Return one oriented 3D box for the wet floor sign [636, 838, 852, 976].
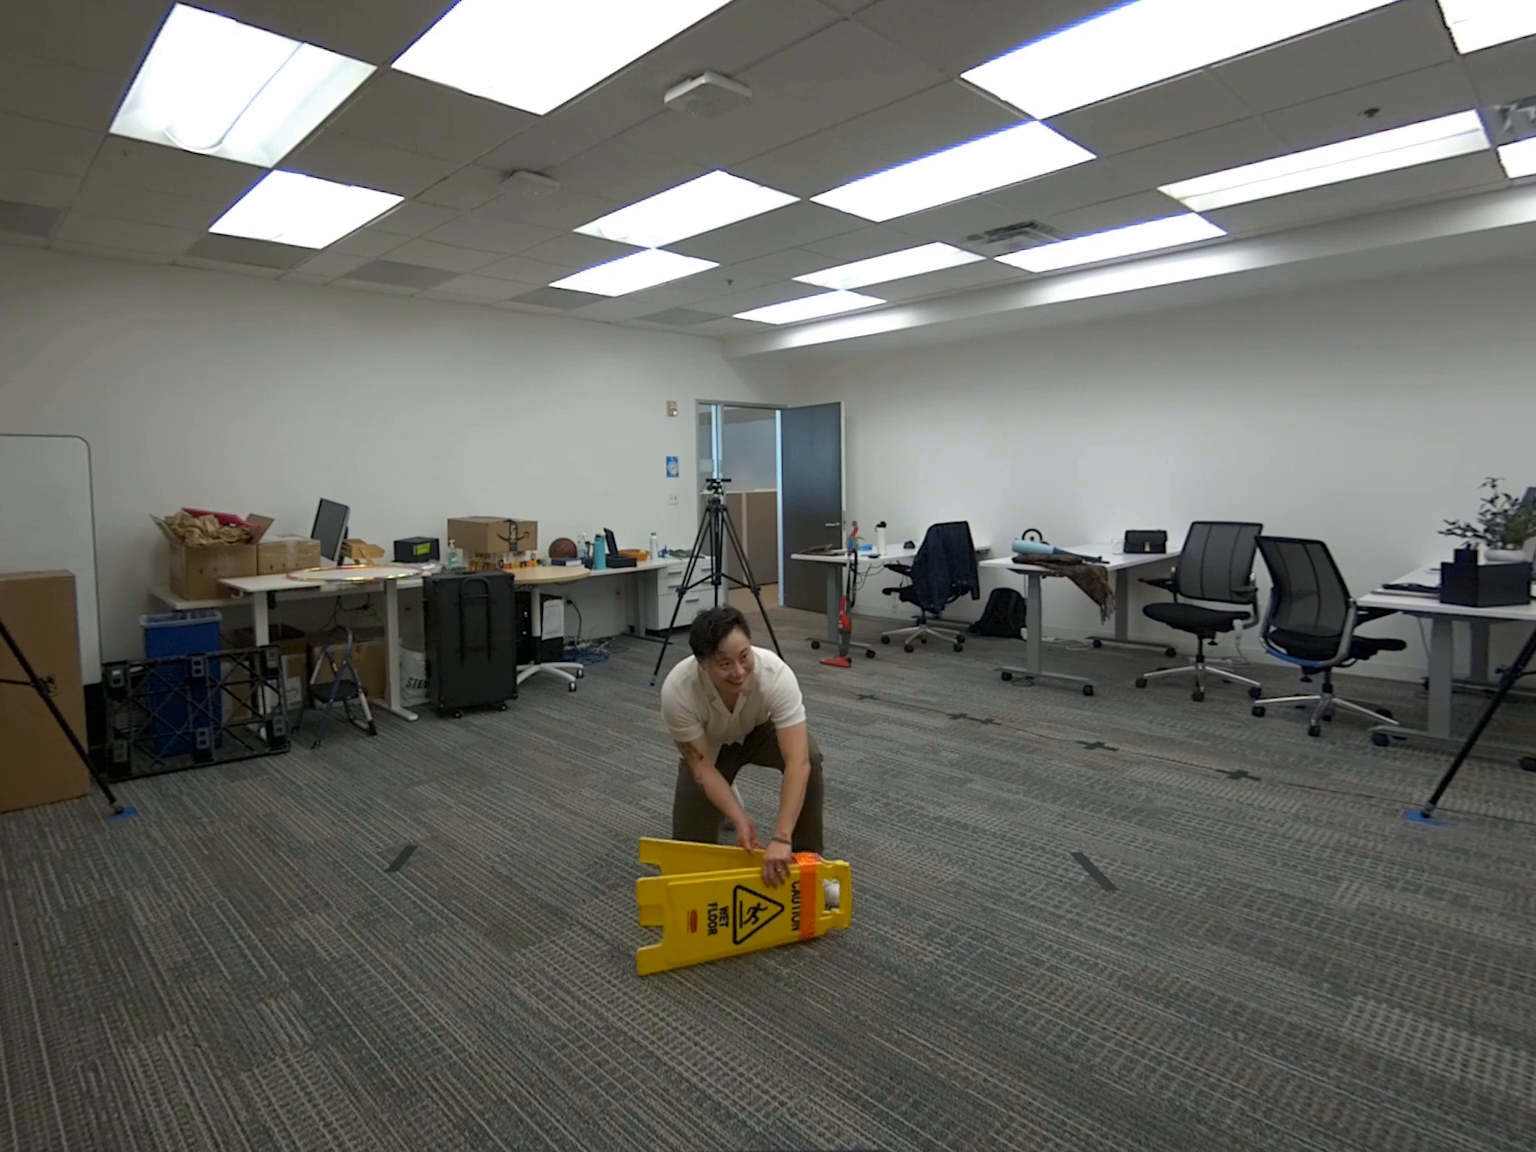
[{"bbox_3d":[-0.067,0.970,2.570,0.642,0.281,0.293,0,5,-6],"label":"wet floor sign"}]
